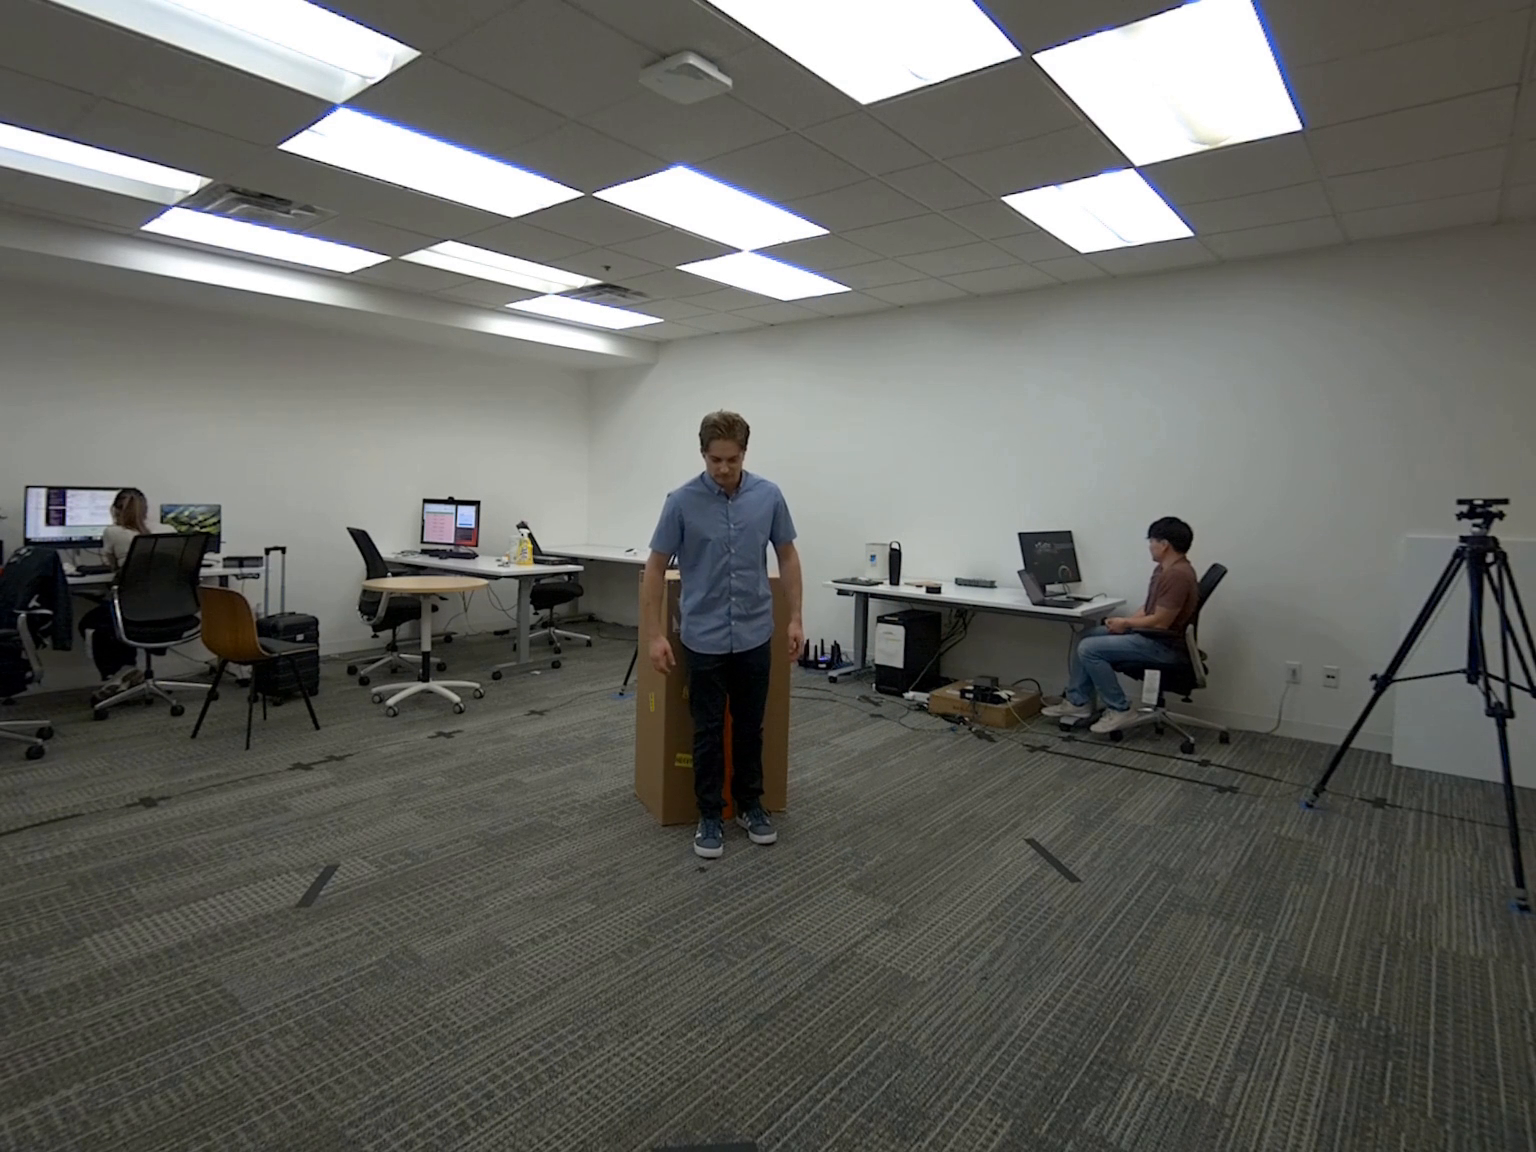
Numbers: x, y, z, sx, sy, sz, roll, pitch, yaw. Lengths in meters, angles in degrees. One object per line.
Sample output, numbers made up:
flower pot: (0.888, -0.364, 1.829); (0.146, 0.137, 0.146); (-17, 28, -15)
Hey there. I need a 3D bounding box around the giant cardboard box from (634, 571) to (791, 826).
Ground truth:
giant cardboard box: (-0.259, 0.499, 3.774); (0.570, 1.025, 0.458); (0, 2, -24)
